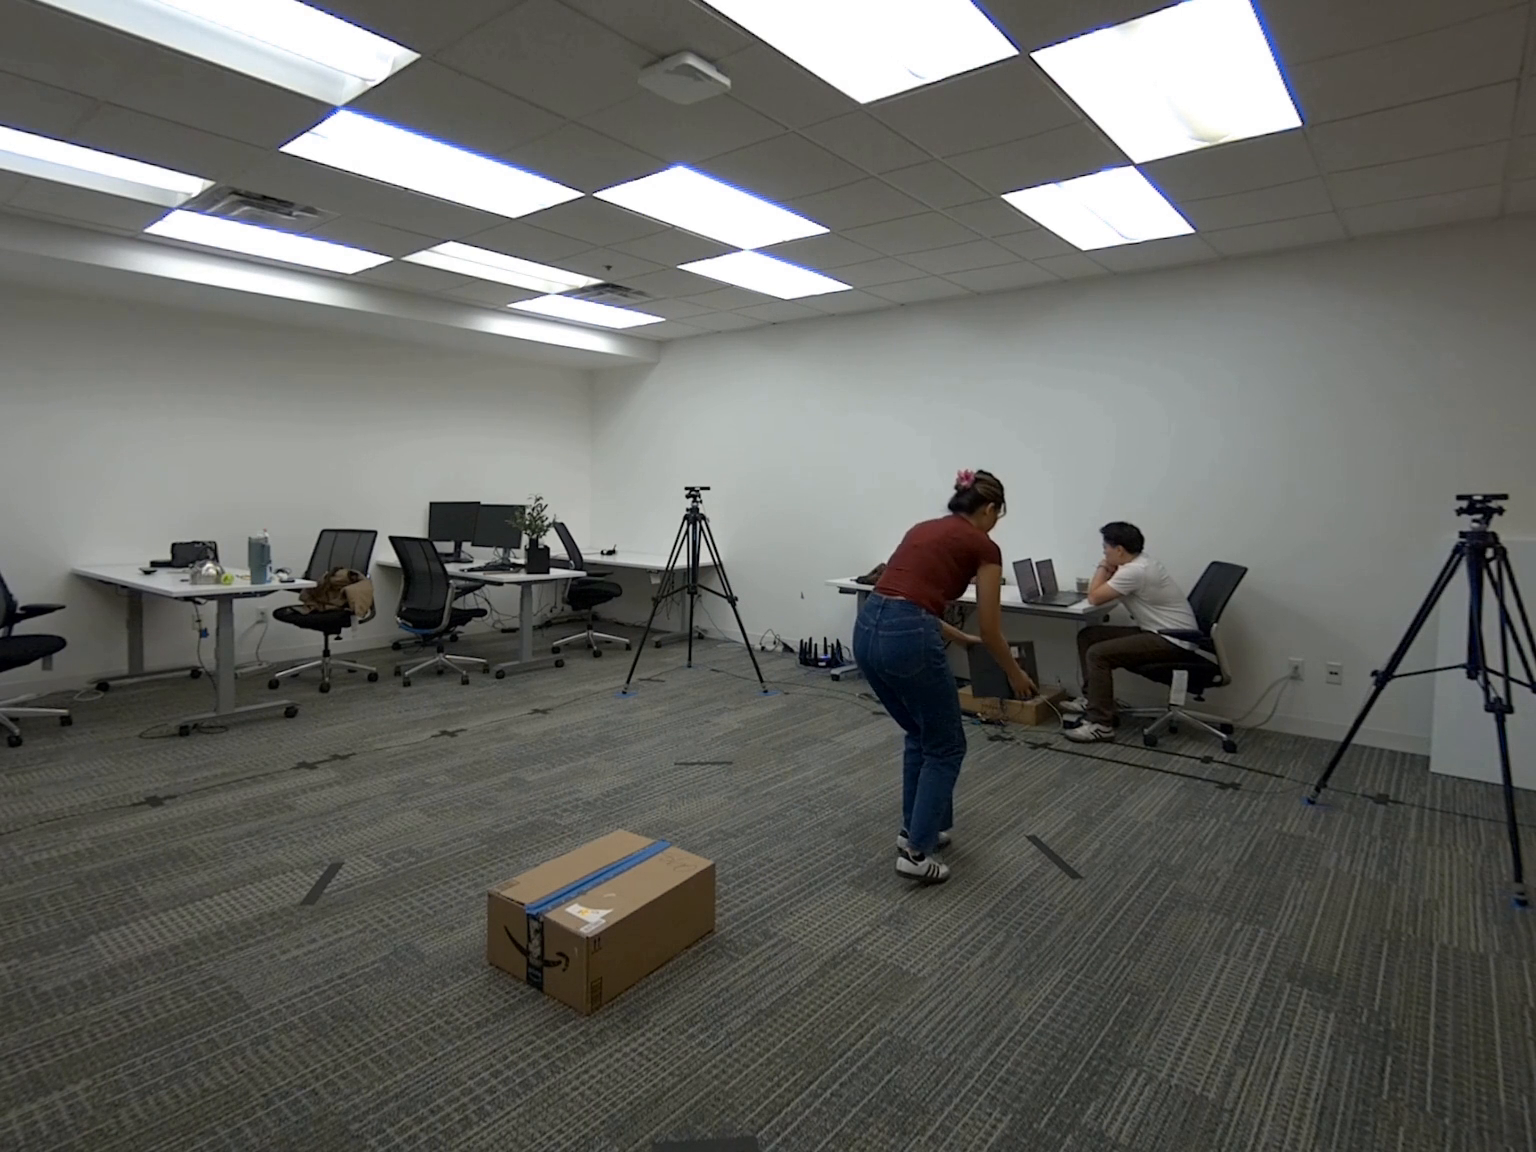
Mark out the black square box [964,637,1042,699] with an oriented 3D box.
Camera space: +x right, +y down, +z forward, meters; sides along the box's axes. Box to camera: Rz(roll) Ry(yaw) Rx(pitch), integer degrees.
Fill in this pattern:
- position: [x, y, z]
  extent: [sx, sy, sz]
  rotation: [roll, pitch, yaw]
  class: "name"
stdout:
- position: [0.954, 0.376, 3.435]
  extent: [0.153, 0.219, 0.230]
  rotation: [-4, -8, -23]
  class: "black square box"
